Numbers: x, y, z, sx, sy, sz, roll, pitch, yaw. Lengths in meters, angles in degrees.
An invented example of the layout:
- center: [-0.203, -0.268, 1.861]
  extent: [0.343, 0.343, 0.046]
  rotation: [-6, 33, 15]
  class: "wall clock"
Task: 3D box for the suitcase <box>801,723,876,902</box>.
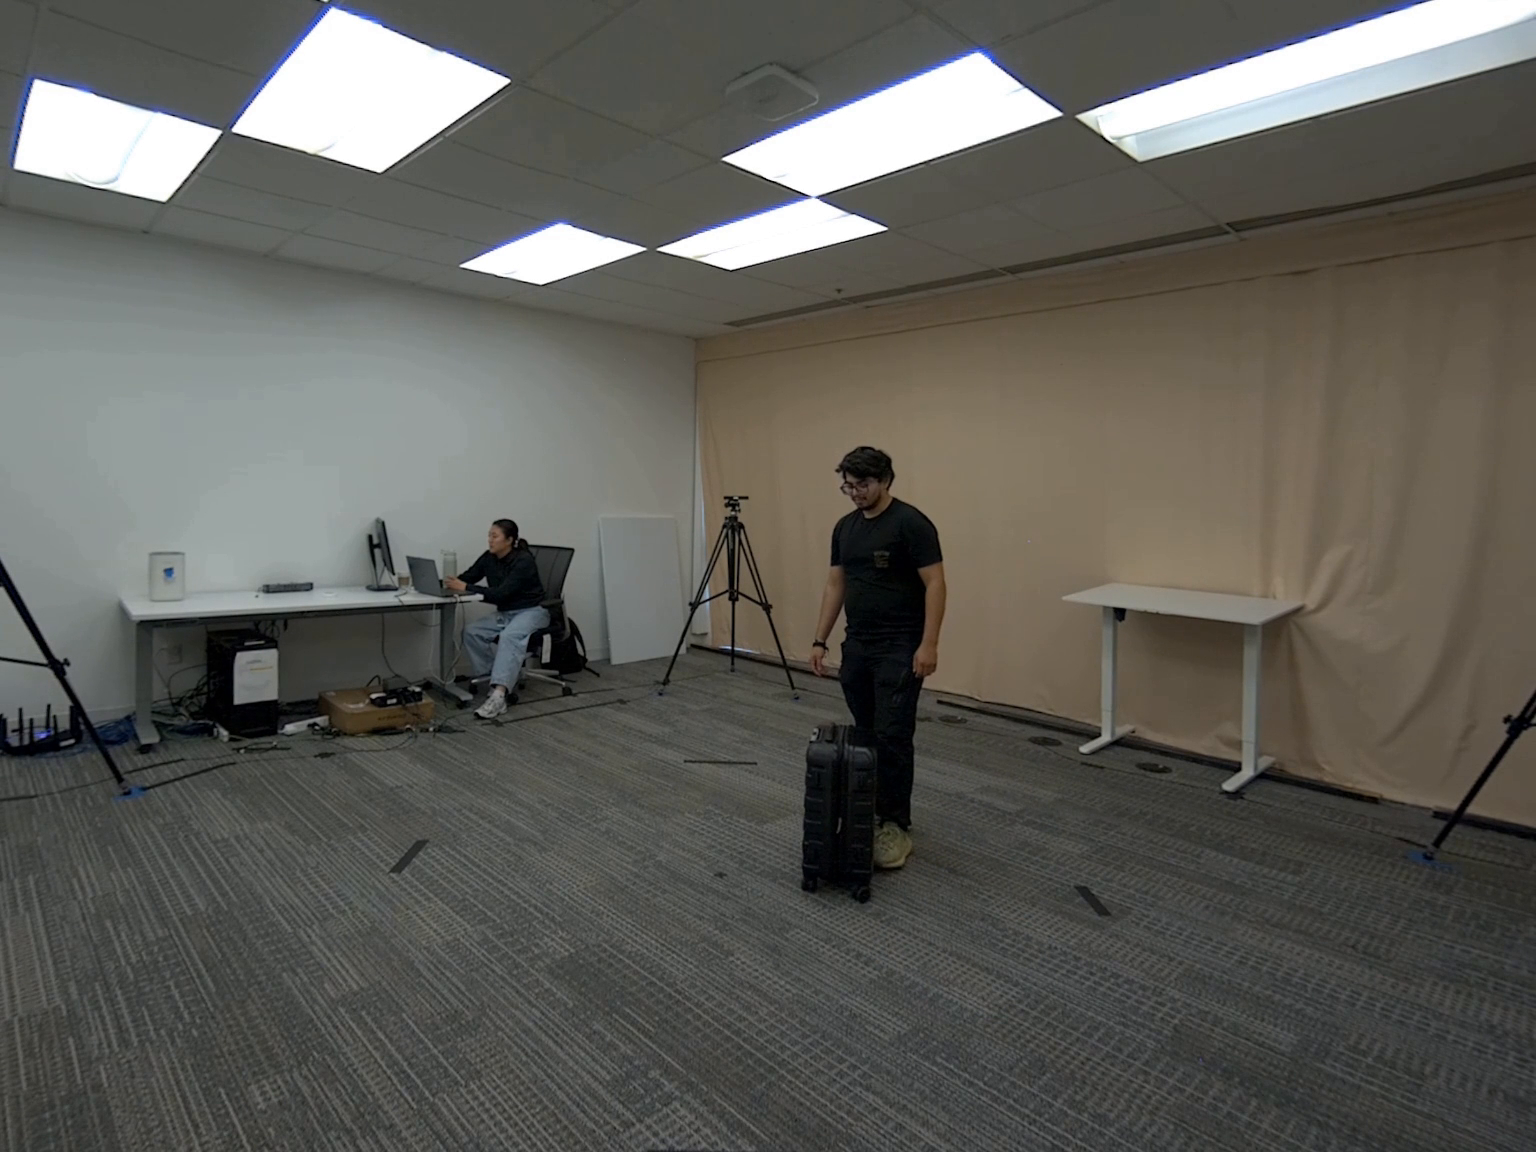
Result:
- center: [0.261, 0.836, 3.086]
  extent: [0.250, 0.548, 0.374]
  rotation: [1, 3, 7]
  class: "suitcase"
